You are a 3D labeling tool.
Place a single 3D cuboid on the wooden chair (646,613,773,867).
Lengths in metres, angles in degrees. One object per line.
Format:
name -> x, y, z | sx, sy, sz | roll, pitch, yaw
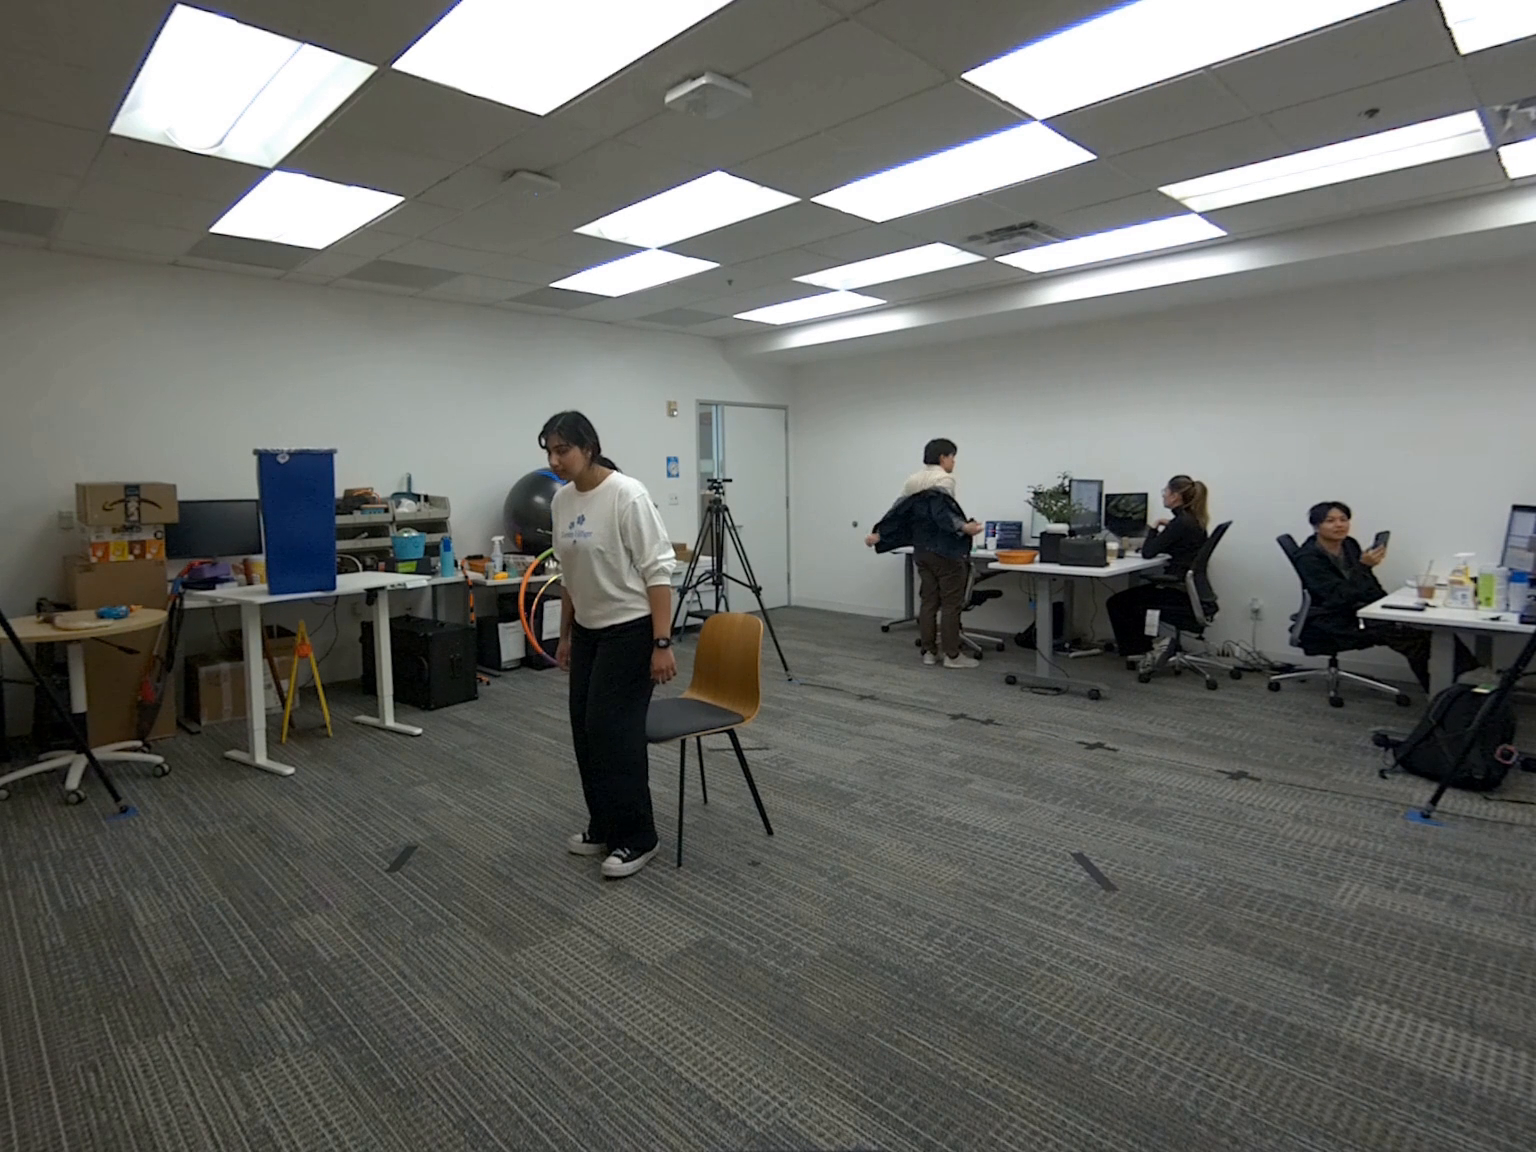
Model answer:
wooden chair -> -0.301, 0.592, 3.364 | 0.508, 0.876, 0.493 | 1, 2, -40
